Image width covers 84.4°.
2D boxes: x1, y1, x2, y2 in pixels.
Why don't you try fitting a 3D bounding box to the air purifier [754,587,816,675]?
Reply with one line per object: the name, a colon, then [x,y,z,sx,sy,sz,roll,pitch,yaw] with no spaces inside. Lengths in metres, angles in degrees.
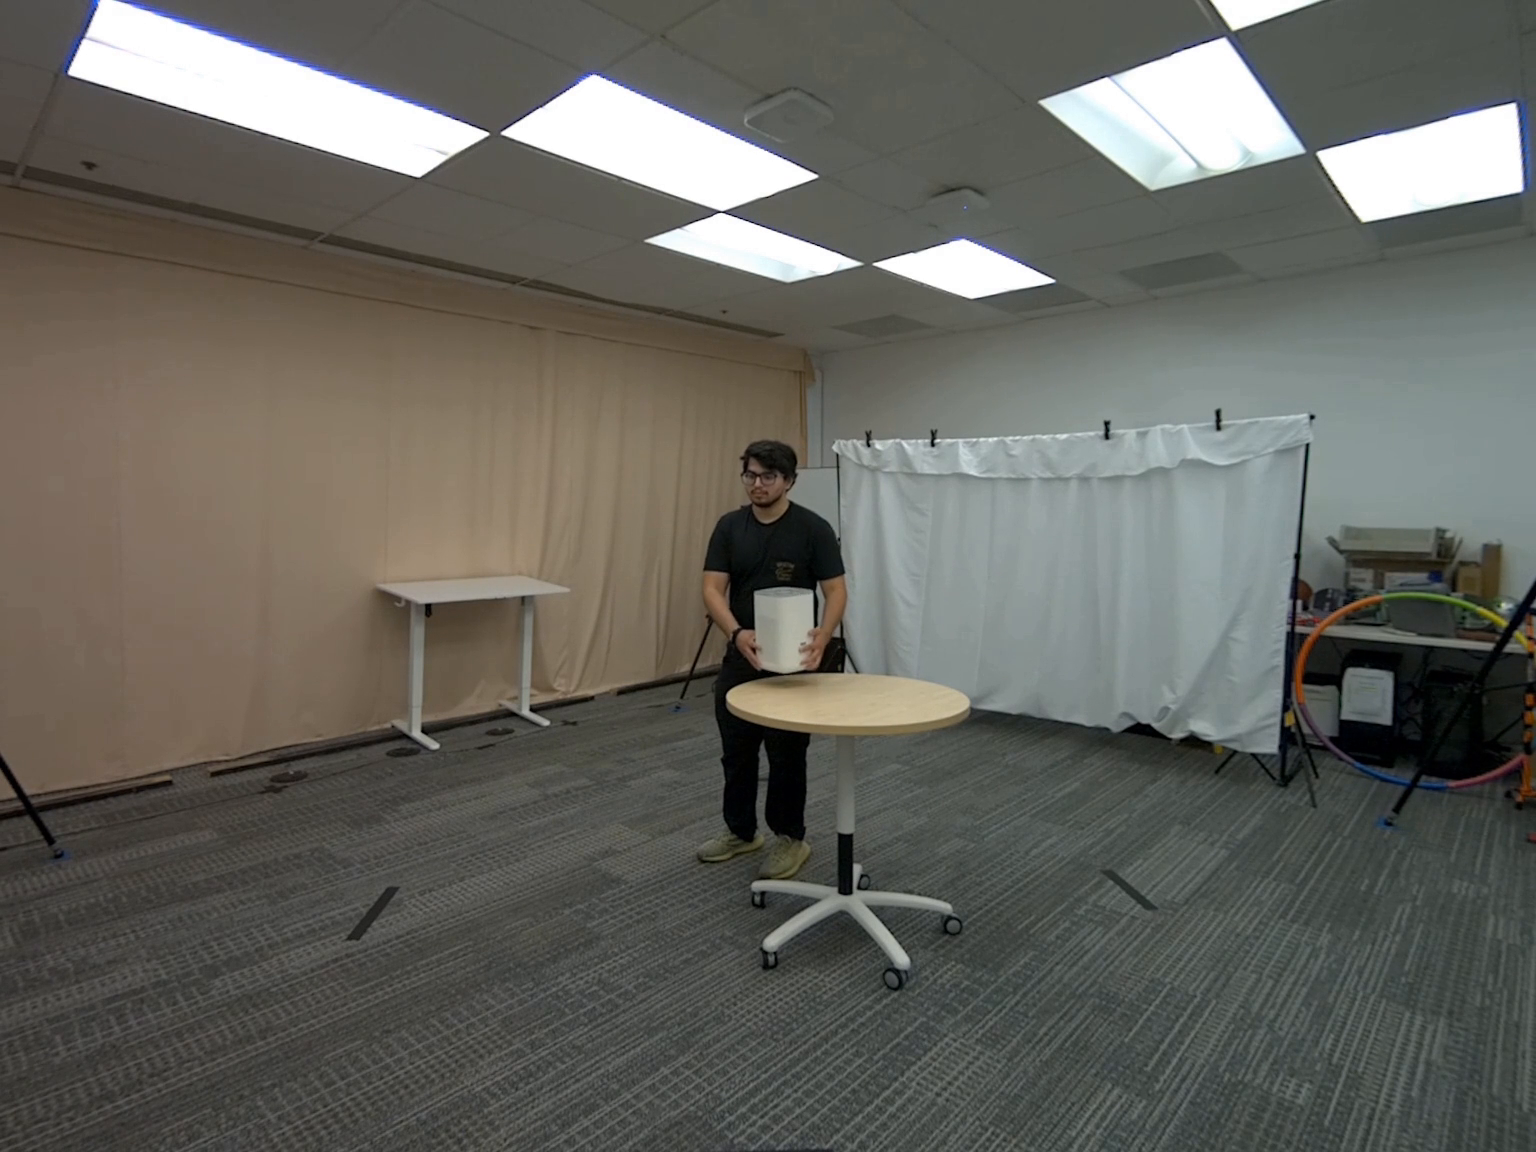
air purifier: [0.052,0.176,2.865,0.166,0.264,0.177,-7,8,-44]
